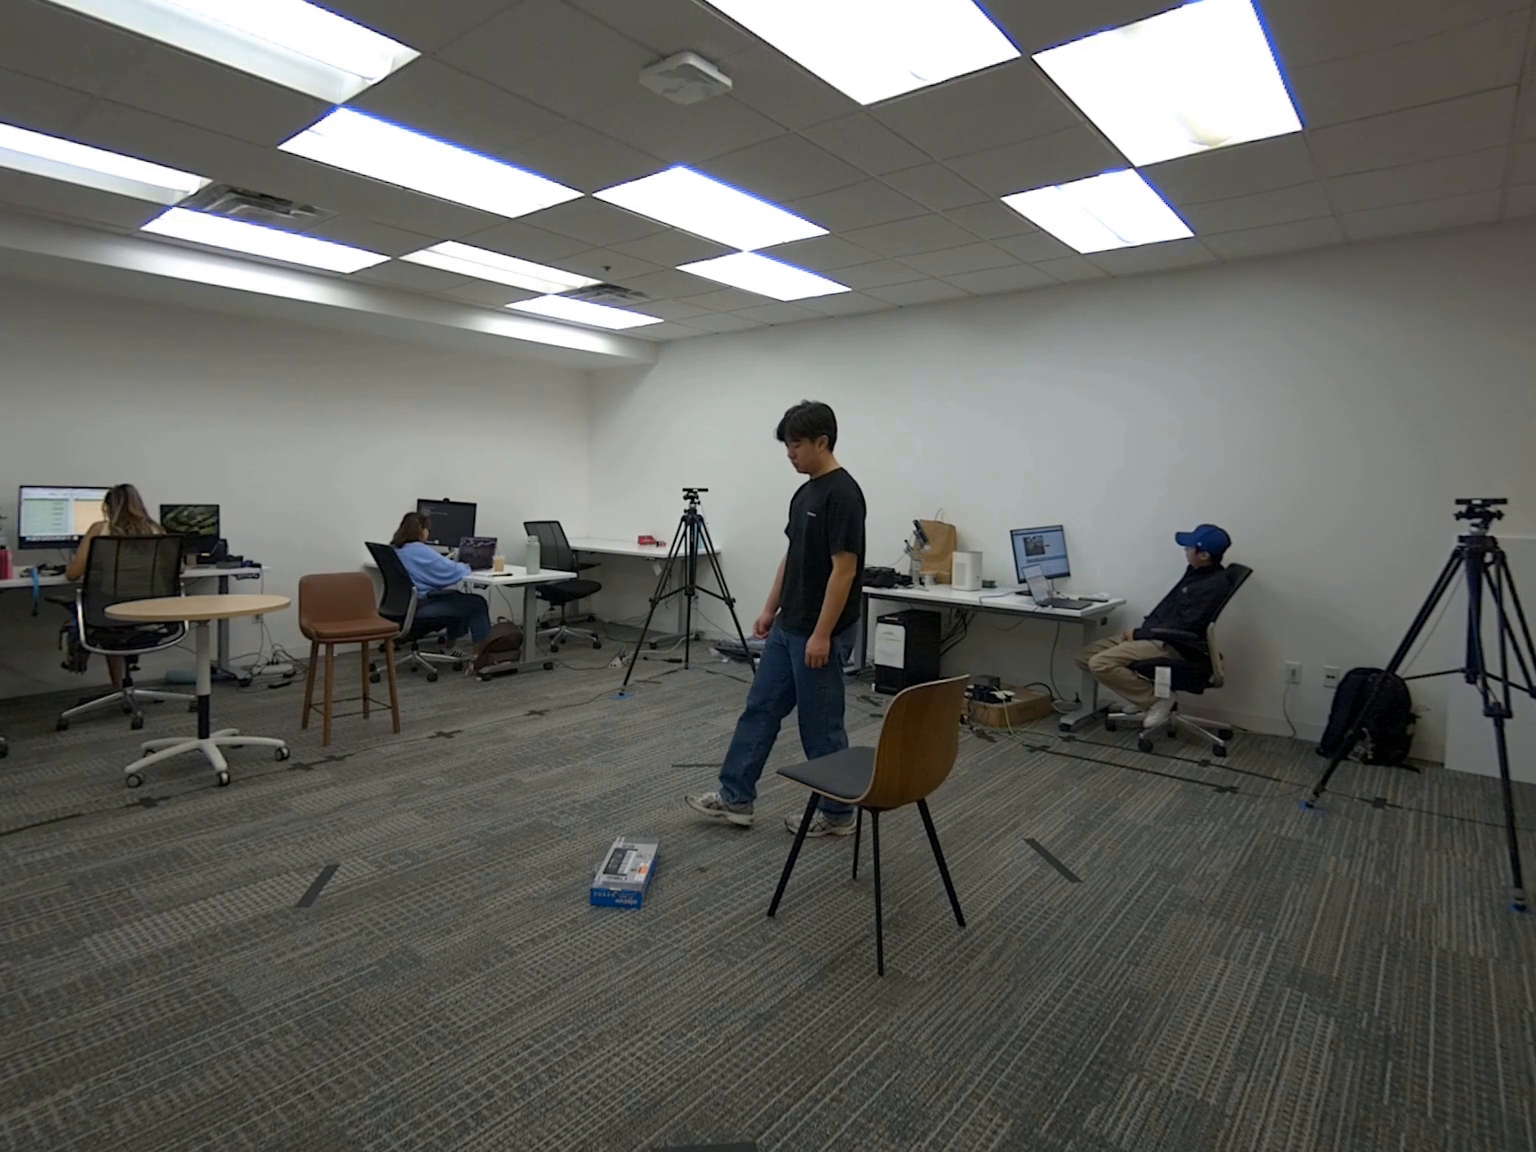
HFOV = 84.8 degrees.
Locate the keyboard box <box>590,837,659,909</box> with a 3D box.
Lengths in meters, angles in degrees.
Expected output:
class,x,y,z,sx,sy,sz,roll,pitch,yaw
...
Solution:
class,x,y,z,sx,sy,sz,roll,pitch,yaw
keyboard box,-0.509,1.044,3.027,0.176,0.059,0.437,2,6,2
